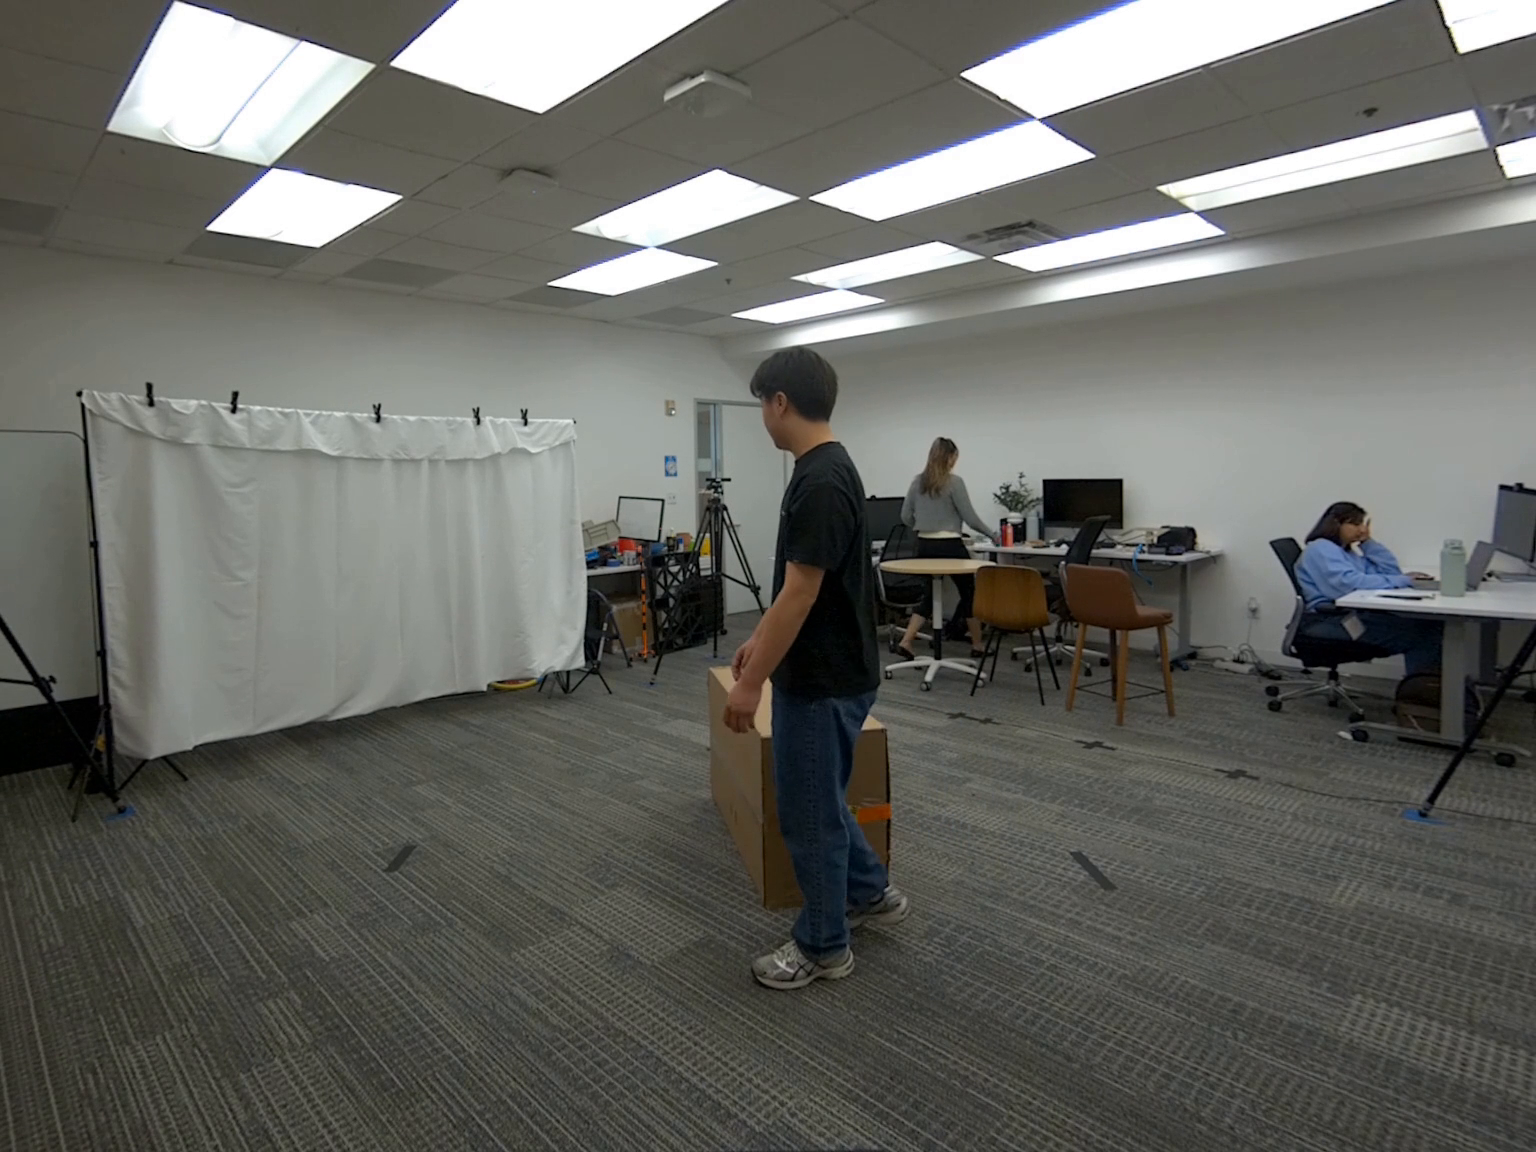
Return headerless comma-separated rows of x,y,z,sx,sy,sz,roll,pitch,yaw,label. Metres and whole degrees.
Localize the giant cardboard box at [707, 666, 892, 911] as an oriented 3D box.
0.077,0.730,3.283,0.441,0.581,1.044,-1,6,-14,giant cardboard box
